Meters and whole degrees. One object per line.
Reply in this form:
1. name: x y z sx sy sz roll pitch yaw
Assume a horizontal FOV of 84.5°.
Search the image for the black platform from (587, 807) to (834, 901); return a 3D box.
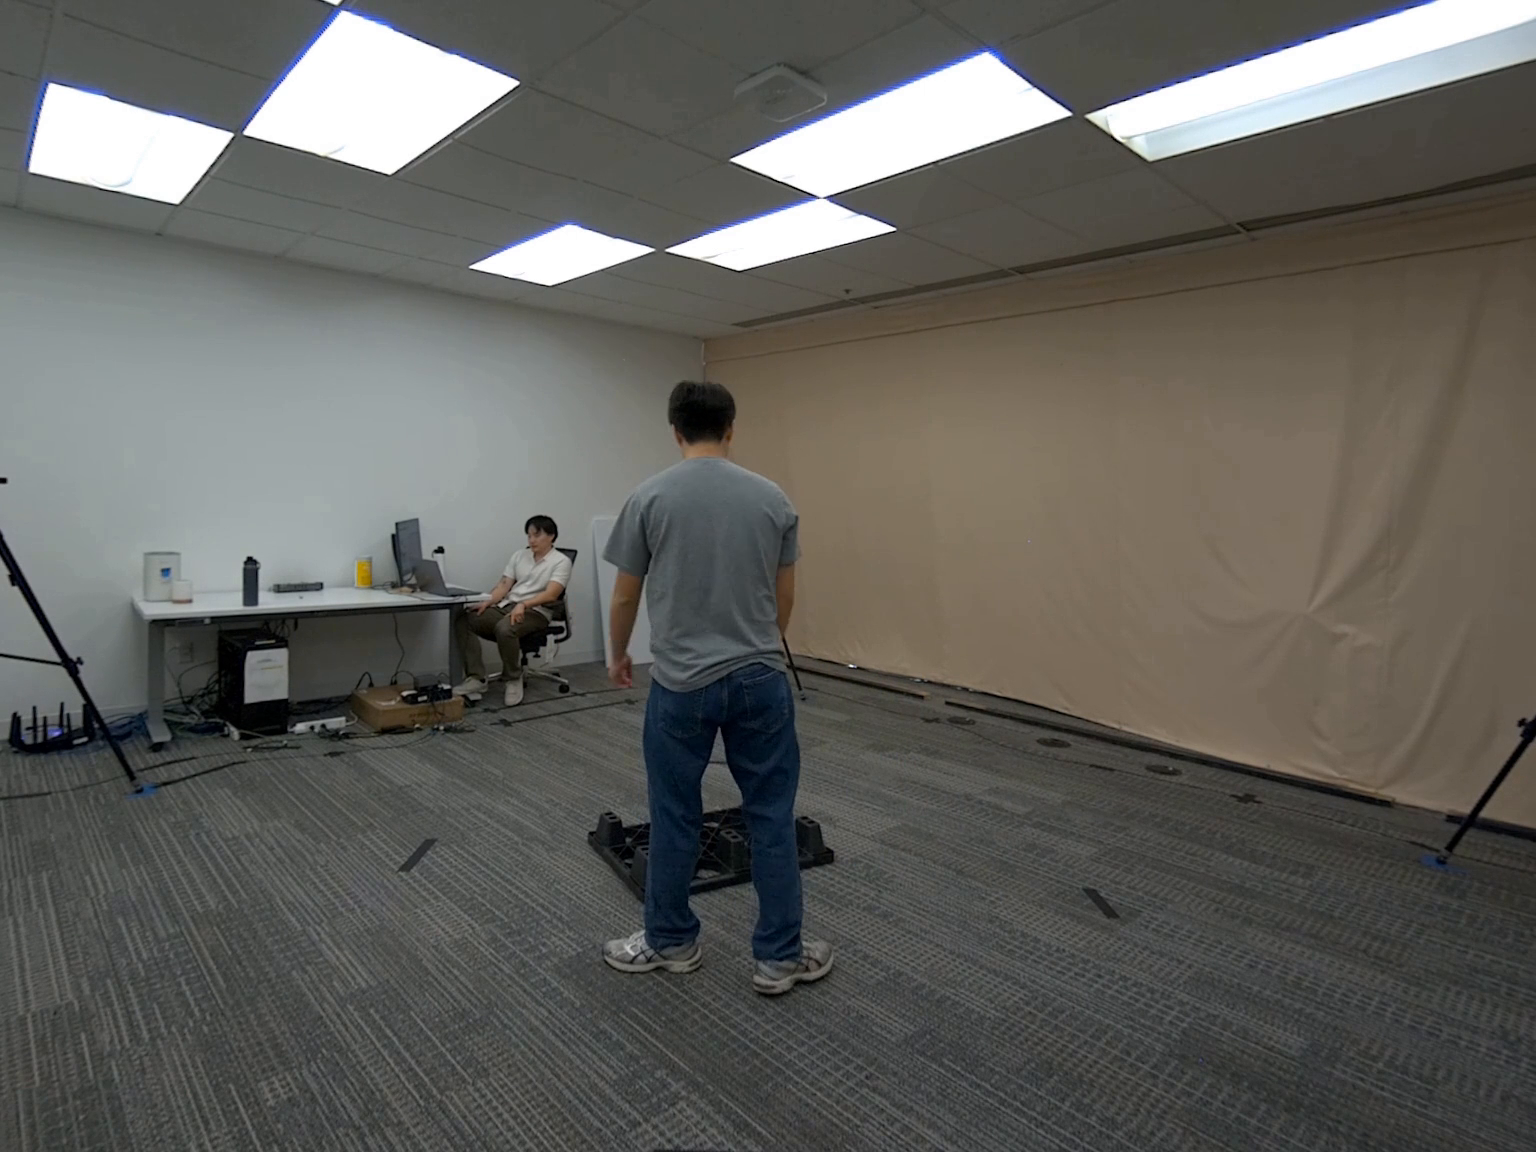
1. black platform: -0.241 1.021 3.300 0.789 0.143 0.619 -2 6 -31
